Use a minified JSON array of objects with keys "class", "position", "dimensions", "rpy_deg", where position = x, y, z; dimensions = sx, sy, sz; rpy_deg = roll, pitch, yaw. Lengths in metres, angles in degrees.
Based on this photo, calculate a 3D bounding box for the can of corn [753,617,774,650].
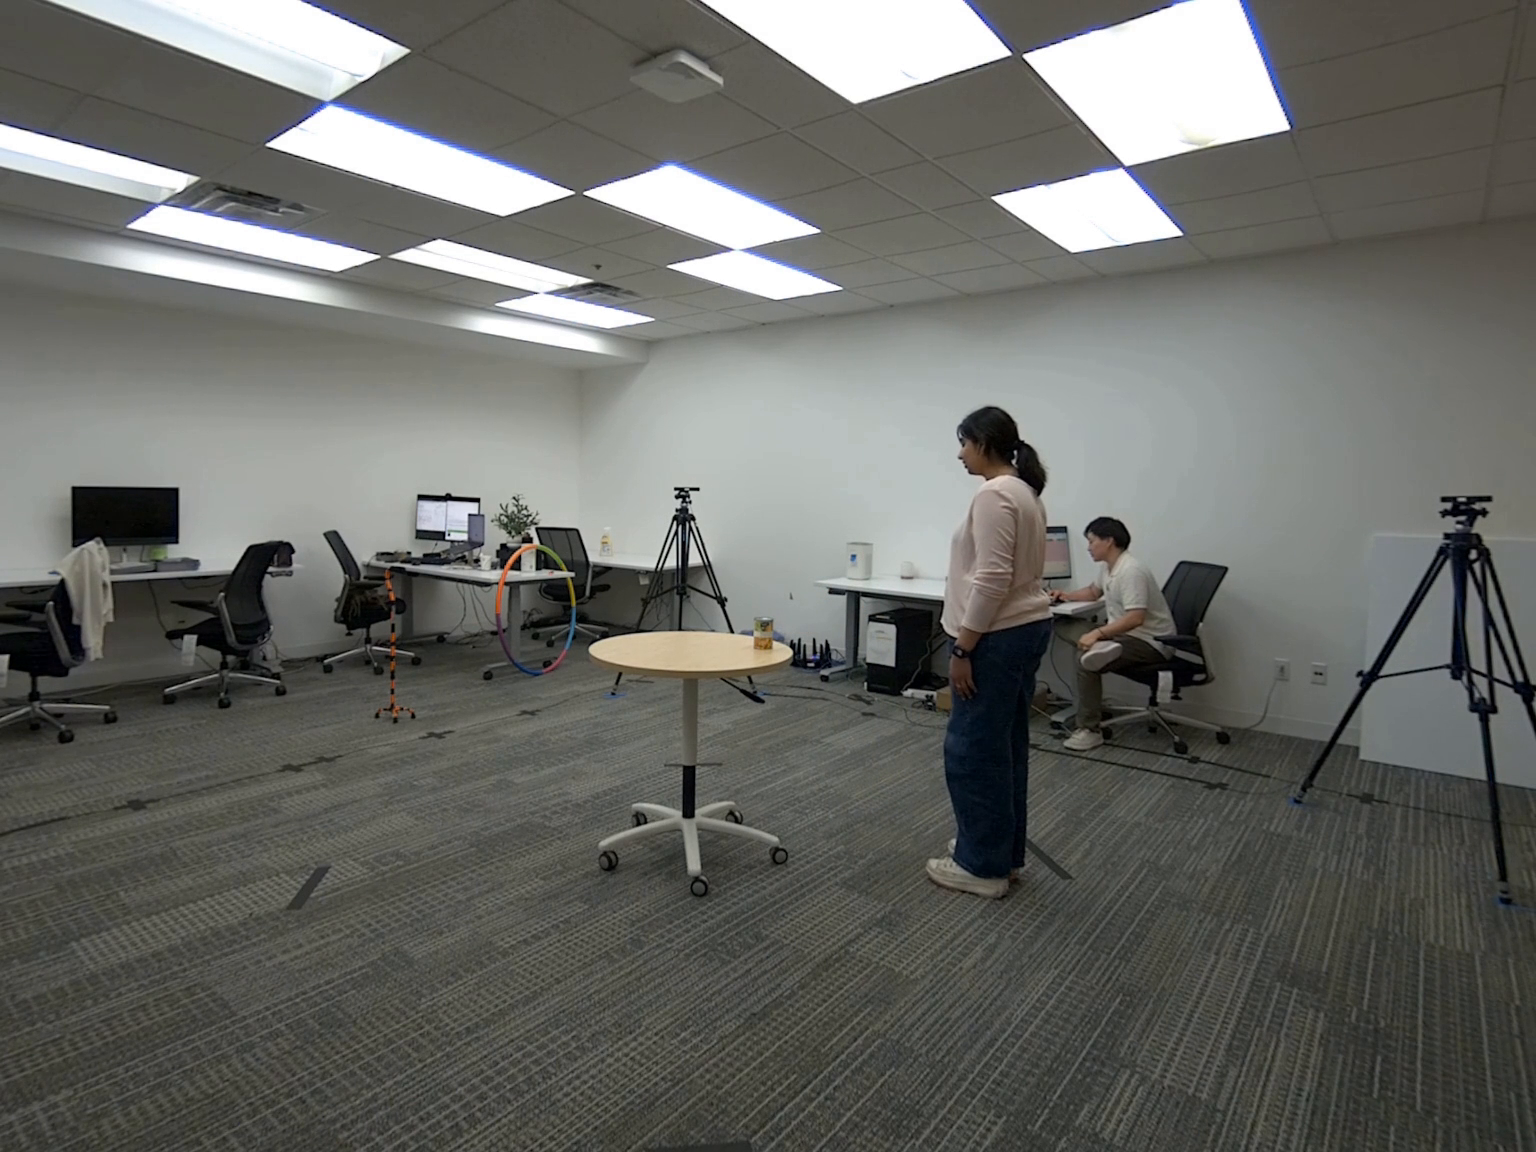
[{"class":"can of corn","position":[-0.027,0.214,3.250],"dimensions":[0.074,0.110,0.075],"rpy_deg":[2,6,-2]}]
